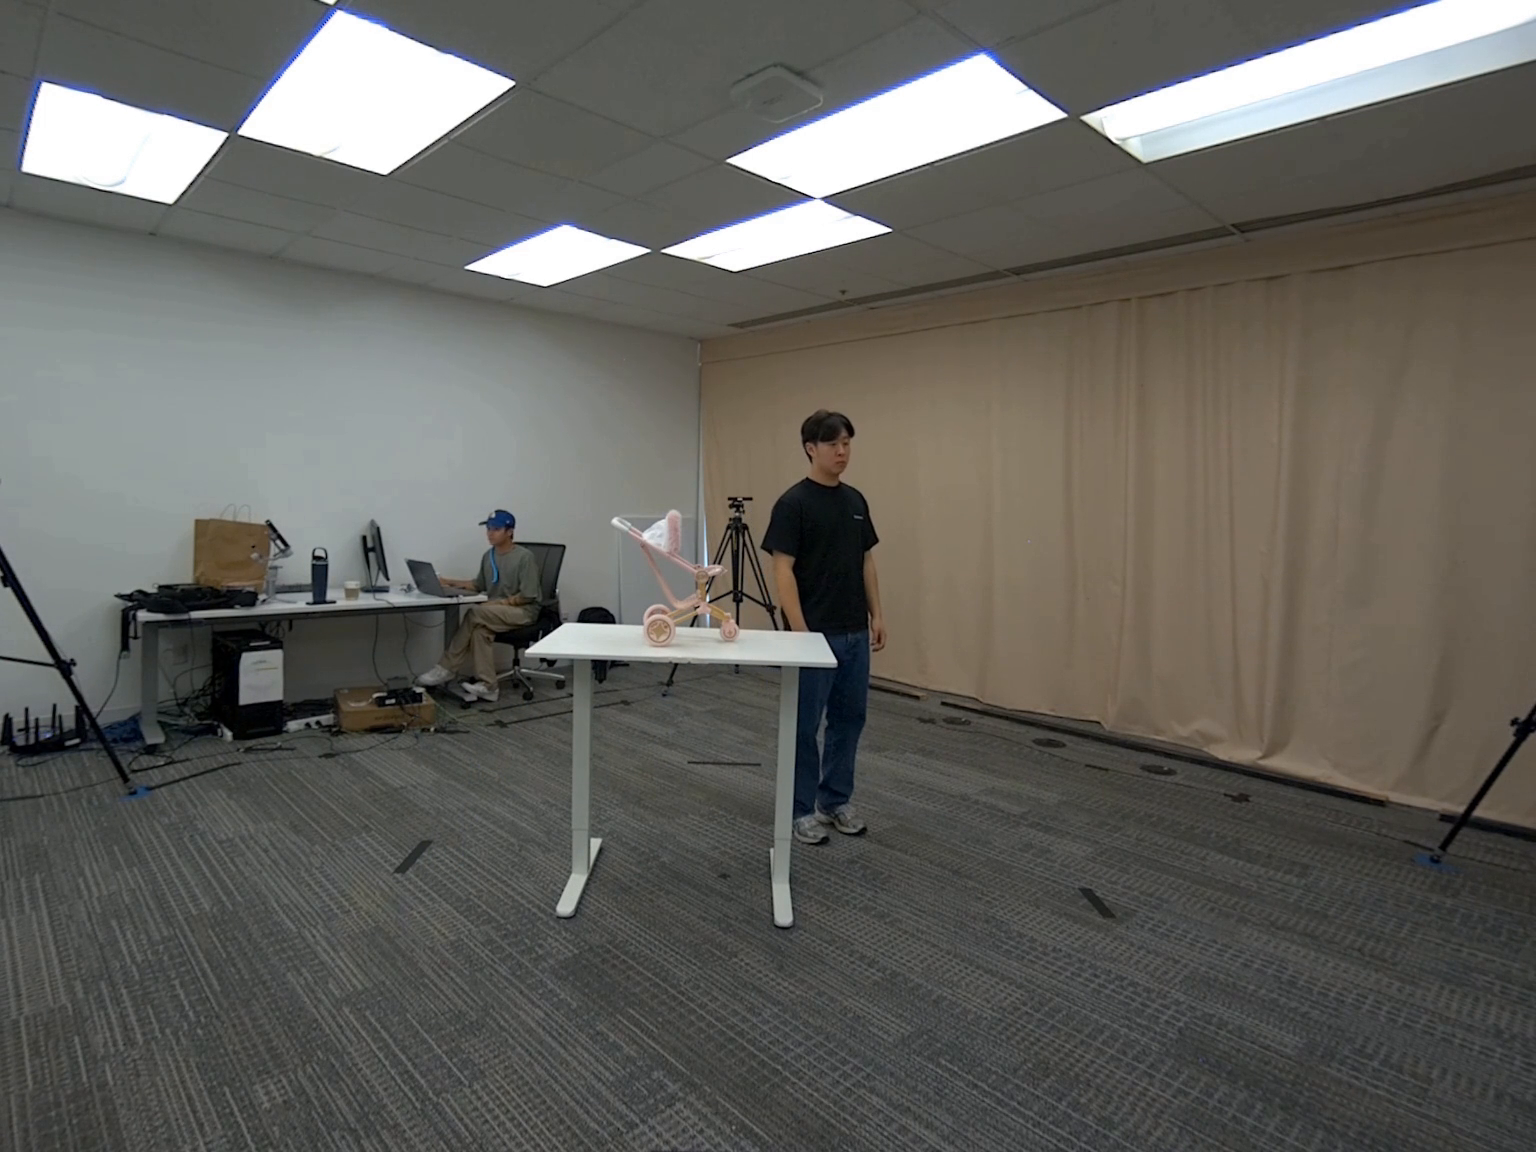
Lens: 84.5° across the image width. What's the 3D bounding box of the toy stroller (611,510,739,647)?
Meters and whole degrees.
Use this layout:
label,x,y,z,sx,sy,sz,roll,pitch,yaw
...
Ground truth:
label,x,y,z,sx,sy,sz,roll,pitch,yaw
toy stroller,-0.324,0.010,2.968,0.341,0.533,0.283,-14,4,-2
